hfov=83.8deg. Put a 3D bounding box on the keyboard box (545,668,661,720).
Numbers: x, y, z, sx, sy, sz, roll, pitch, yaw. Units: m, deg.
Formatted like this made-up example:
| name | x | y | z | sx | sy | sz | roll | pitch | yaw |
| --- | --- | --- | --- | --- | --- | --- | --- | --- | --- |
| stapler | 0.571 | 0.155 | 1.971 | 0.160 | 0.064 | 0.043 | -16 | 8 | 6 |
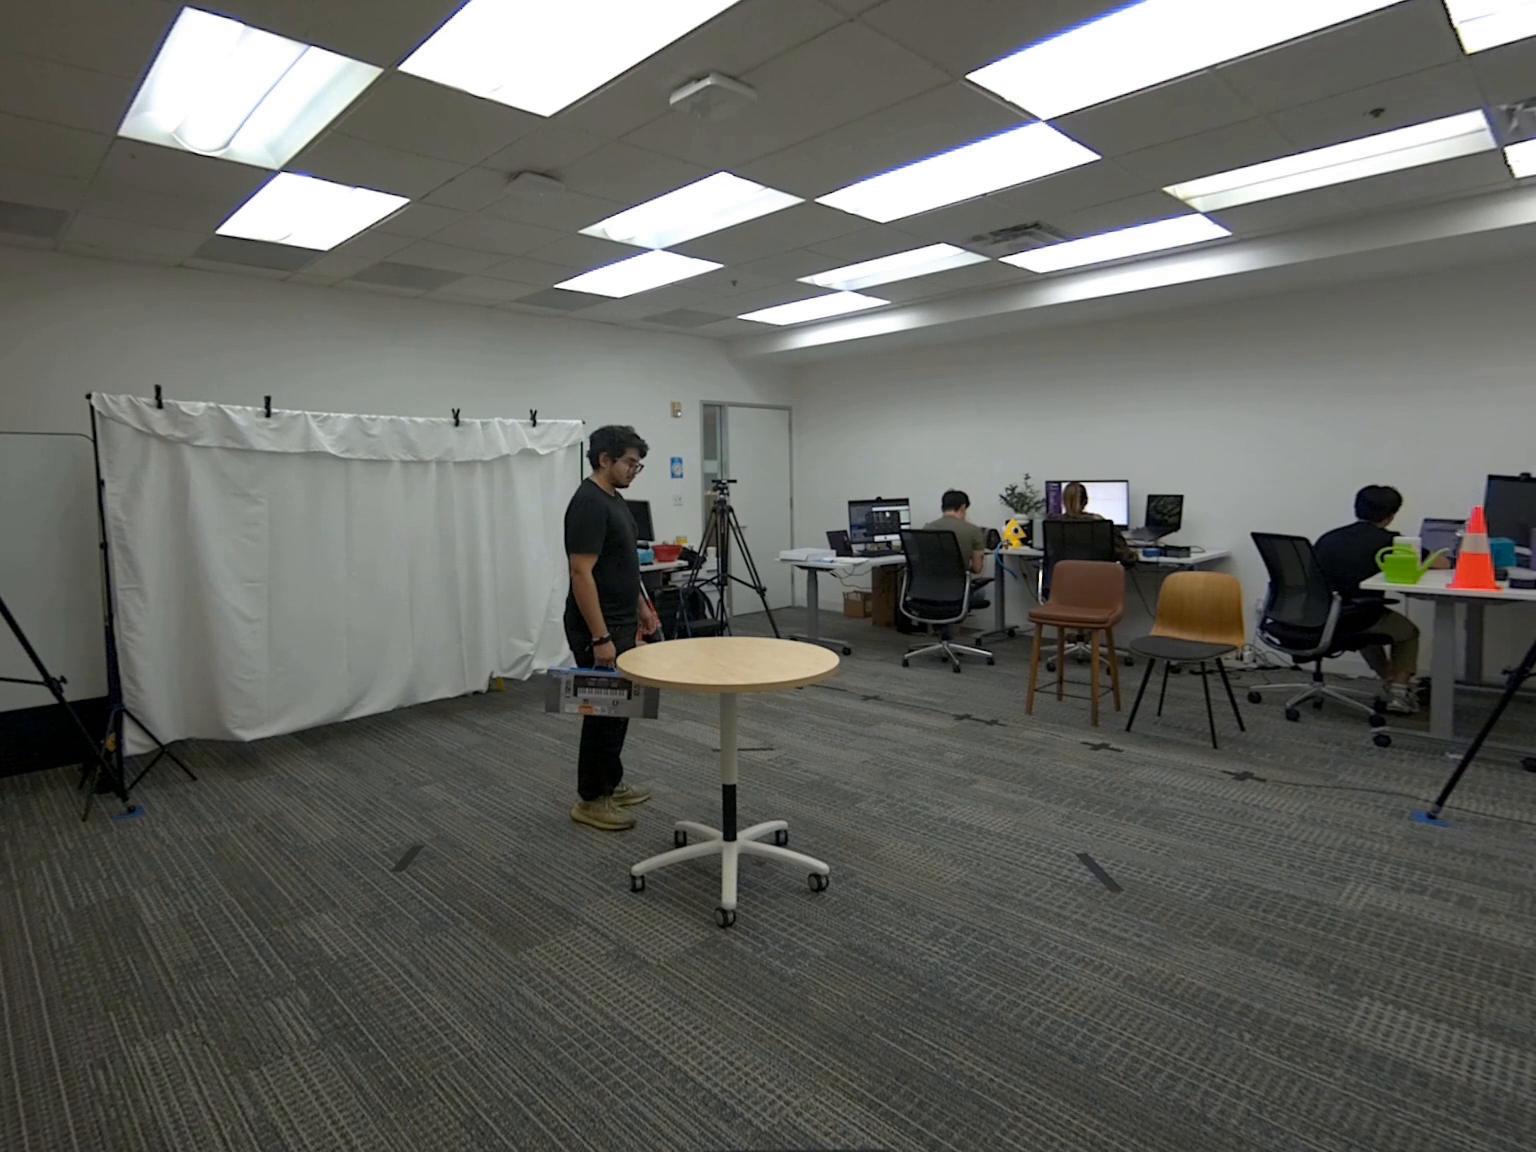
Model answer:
| name | x | y | z | sx | sy | sz | roll | pitch | yaw |
| --- | --- | --- | --- | --- | --- | --- | --- | --- | --- |
| keyboard box | -0.641 | 0.448 | 3.331 | 0.436 | 0.176 | 0.059 | 3 | 2 | -1 |
